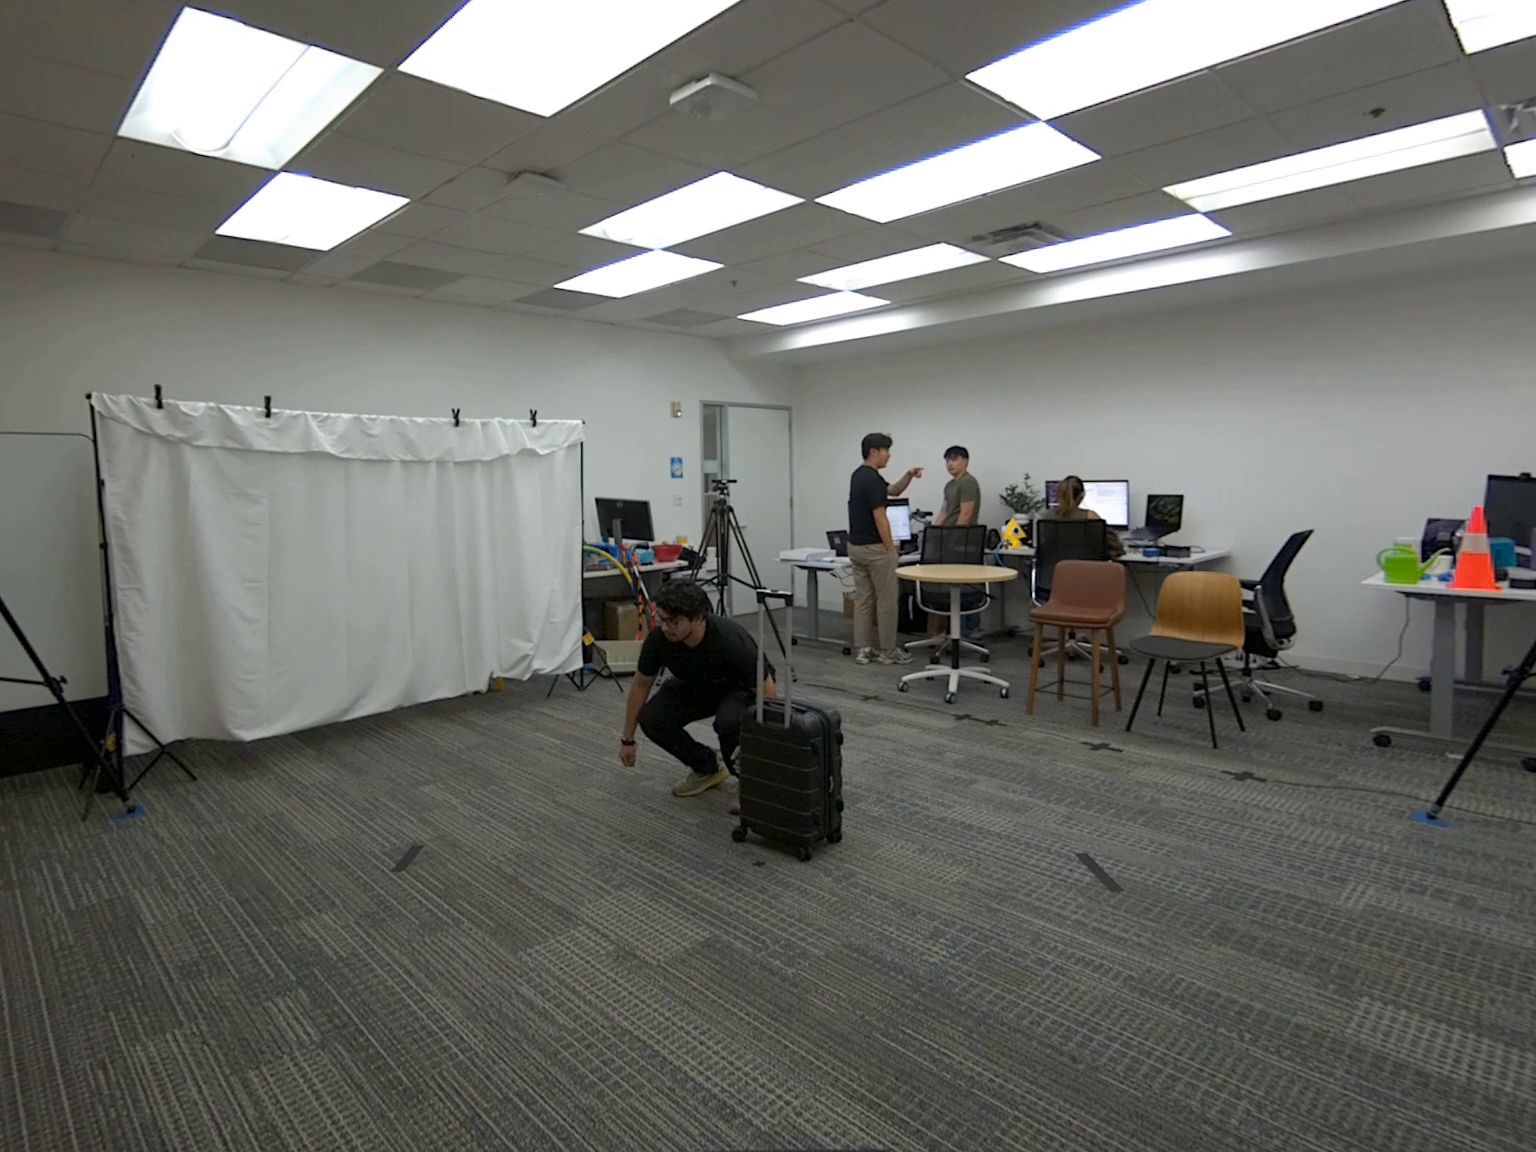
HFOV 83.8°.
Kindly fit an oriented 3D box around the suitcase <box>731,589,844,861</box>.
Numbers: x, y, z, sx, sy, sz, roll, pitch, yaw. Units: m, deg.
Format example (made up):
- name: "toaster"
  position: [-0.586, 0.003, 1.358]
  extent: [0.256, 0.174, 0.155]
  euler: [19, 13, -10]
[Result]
- name: "suitcase"
  position: [0.095, 0.550, 3.261]
  extent: [0.395, 0.976, 0.250]
  euler: [3, 3, 37]
